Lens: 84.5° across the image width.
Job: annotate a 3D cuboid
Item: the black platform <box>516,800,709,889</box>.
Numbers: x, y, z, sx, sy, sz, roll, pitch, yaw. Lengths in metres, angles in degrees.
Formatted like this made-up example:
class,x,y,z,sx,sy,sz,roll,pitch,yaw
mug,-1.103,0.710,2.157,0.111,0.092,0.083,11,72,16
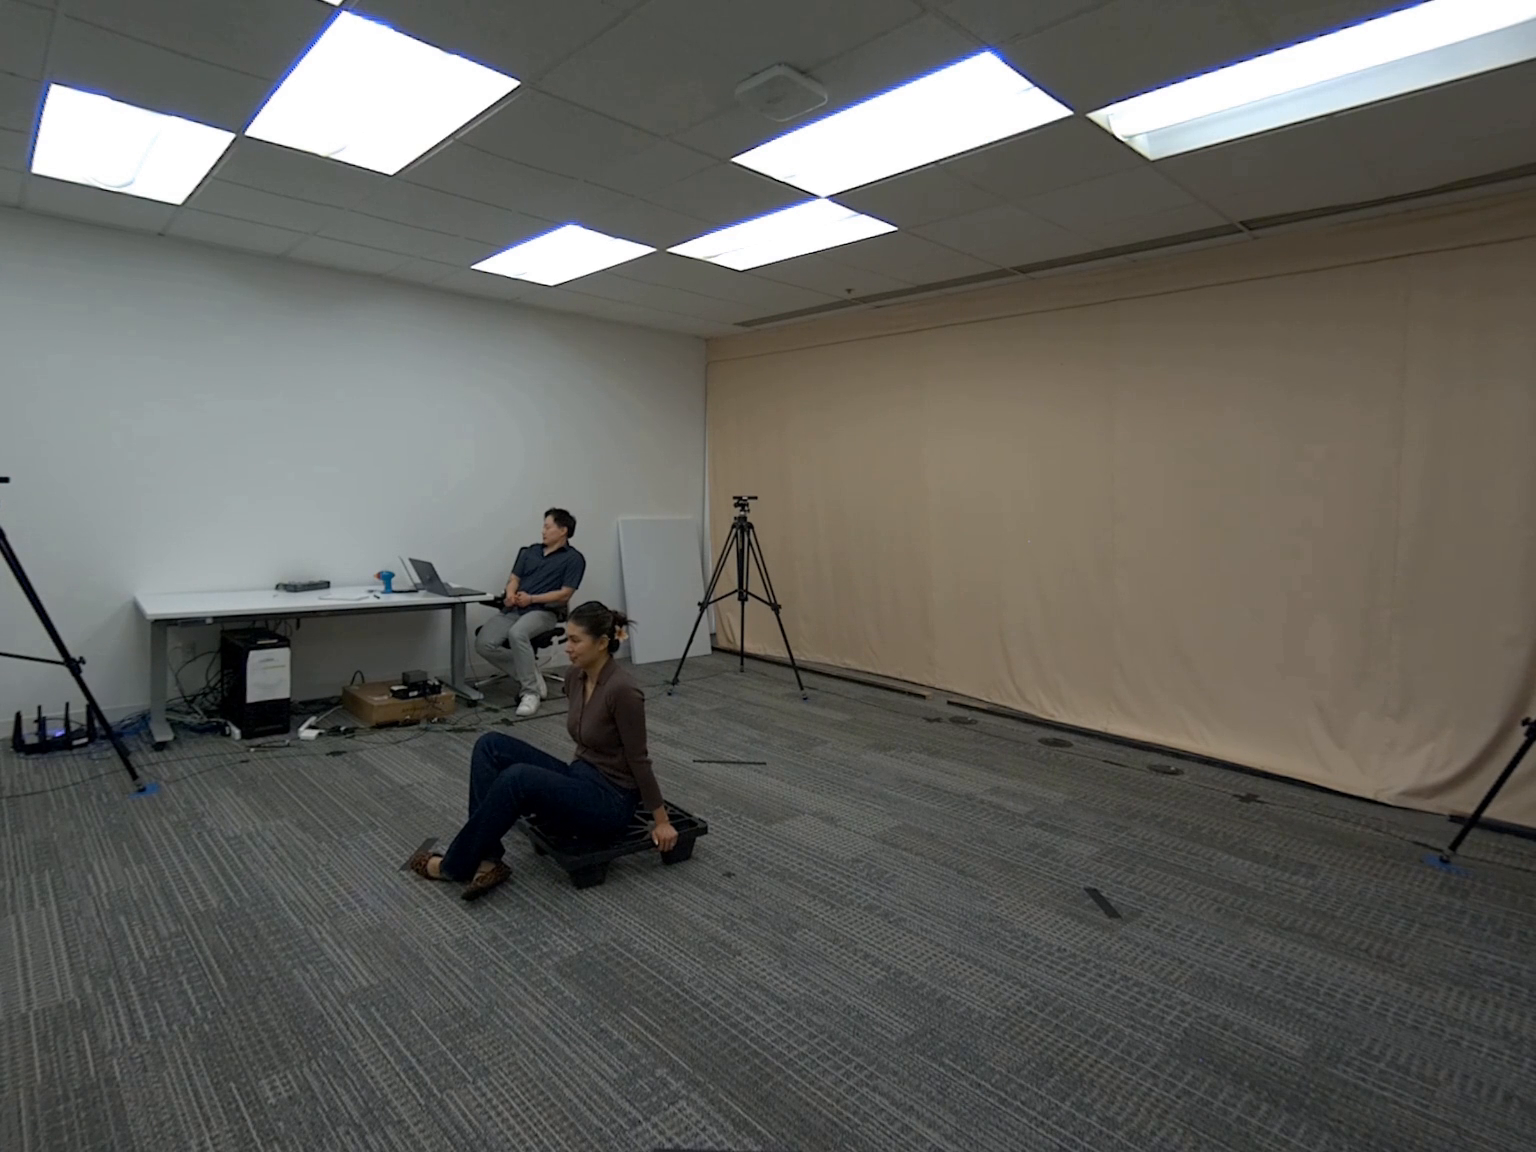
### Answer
class,x,y,z,sx,sy,sz,roll,pitch,yaw
black platform,-0.708,1.000,3.389,0.592,0.143,0.826,-3,7,-37
